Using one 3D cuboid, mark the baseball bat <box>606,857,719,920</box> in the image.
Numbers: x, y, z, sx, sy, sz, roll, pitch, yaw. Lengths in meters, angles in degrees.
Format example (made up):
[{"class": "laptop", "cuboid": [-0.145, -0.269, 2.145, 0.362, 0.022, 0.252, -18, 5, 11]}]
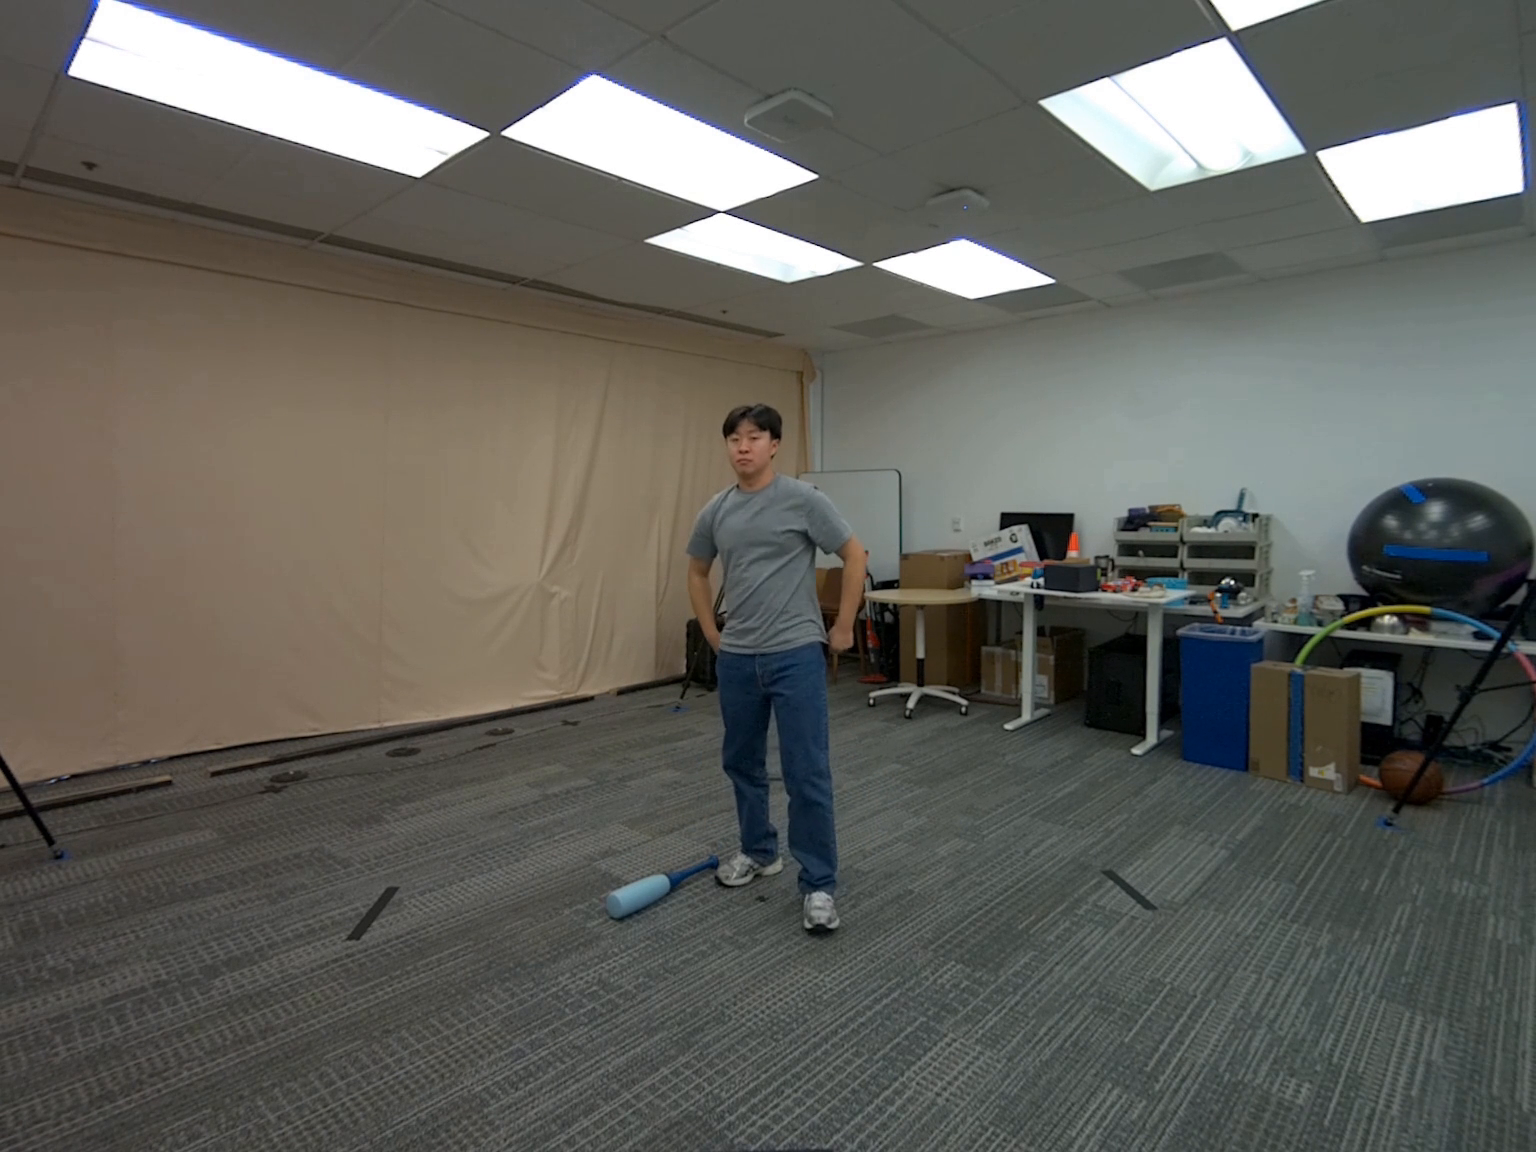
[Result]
[{"class": "baseball bat", "cuboid": [-0.363, 1.106, 3.033, 0.092, 0.089, 0.526, 3, 4, 39]}]
